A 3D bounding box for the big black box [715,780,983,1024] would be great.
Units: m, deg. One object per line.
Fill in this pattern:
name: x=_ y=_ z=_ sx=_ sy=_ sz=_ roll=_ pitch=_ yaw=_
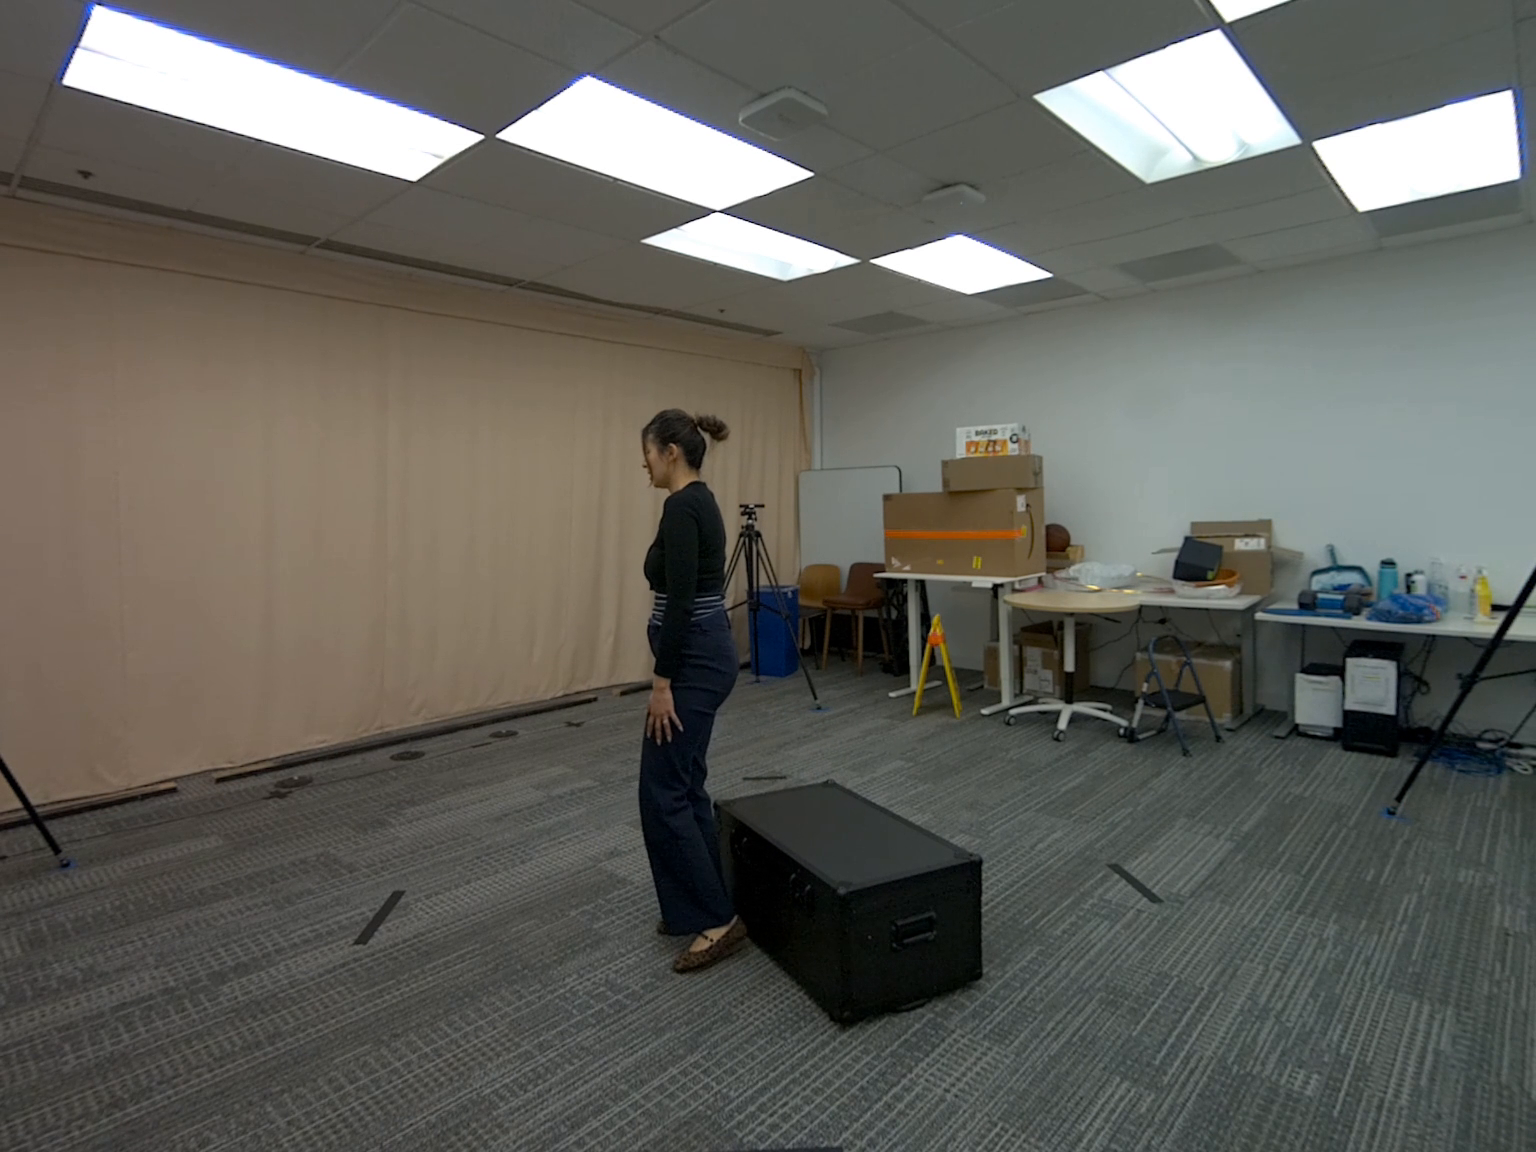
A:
big black box: x=0.236 y=0.975 z=2.626 sx=0.508 sy=0.395 sz=0.885 roll=-3 pitch=5 yaw=-28
